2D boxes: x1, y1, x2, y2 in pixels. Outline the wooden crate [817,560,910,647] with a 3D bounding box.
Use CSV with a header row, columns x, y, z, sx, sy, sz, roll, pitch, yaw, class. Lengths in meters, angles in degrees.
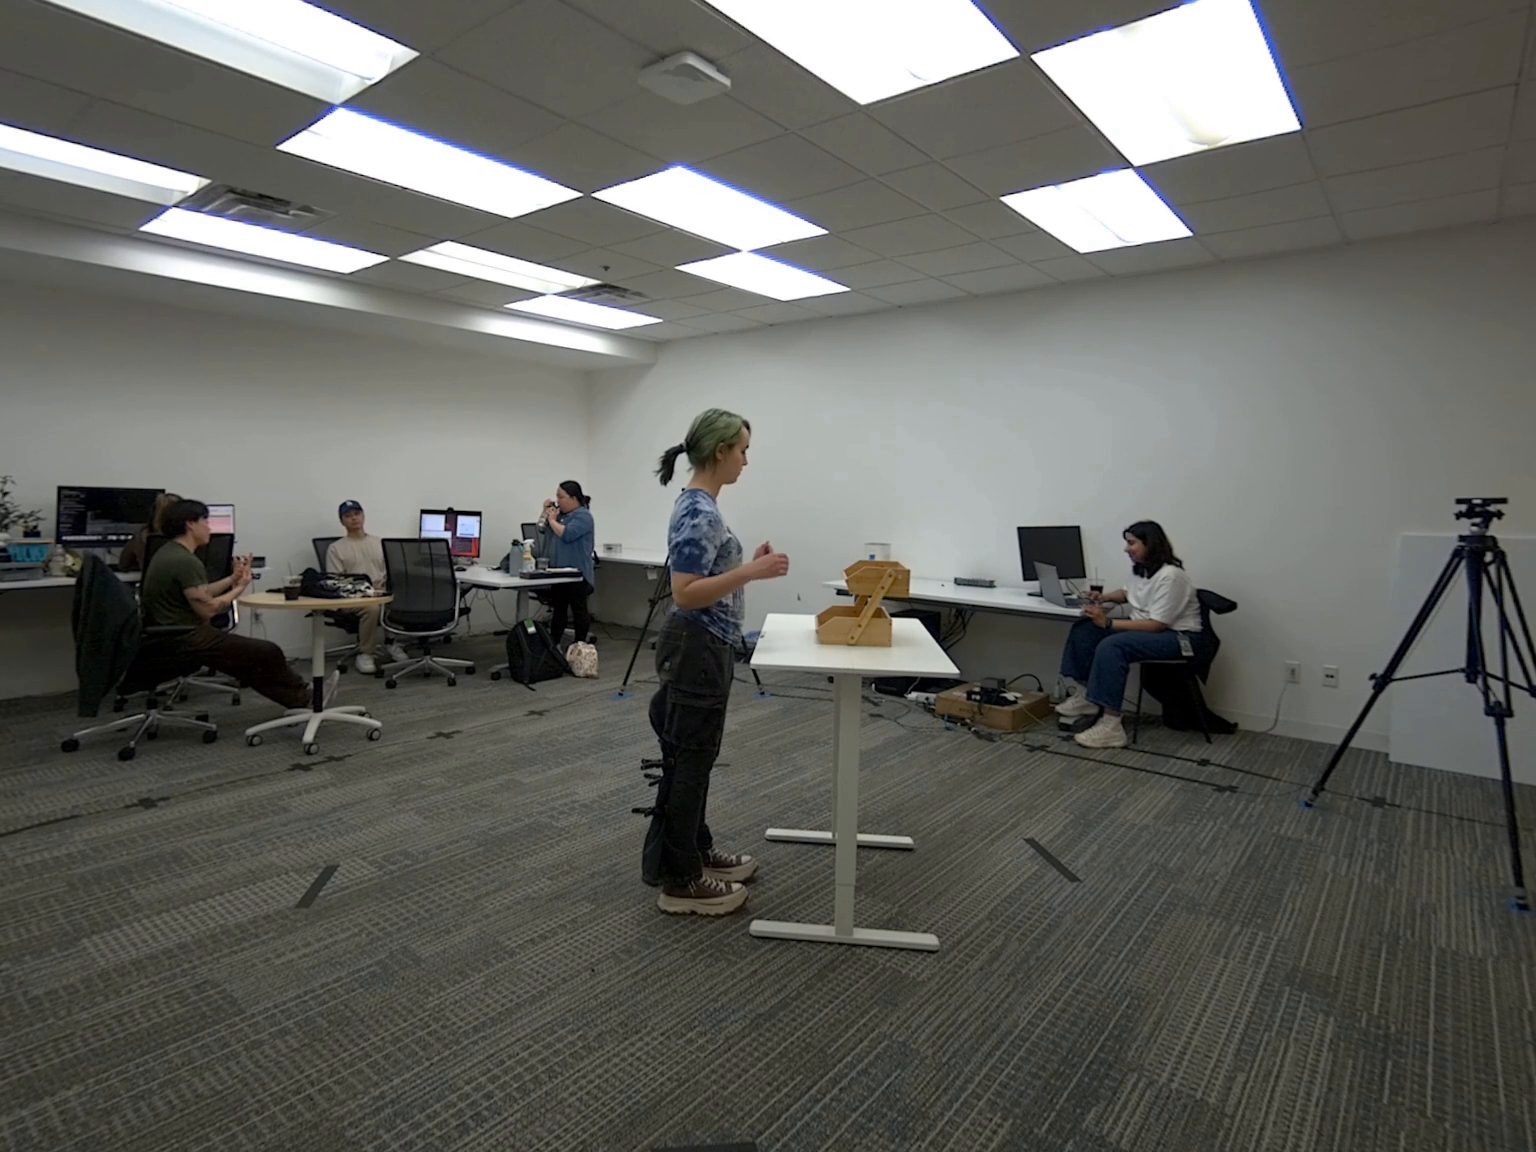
x,y,z,sx,sy,sz,roll,pitch,yaw,class
0.310,0.083,2.945,0.304,0.272,0.324,2,5,4,wooden crate
